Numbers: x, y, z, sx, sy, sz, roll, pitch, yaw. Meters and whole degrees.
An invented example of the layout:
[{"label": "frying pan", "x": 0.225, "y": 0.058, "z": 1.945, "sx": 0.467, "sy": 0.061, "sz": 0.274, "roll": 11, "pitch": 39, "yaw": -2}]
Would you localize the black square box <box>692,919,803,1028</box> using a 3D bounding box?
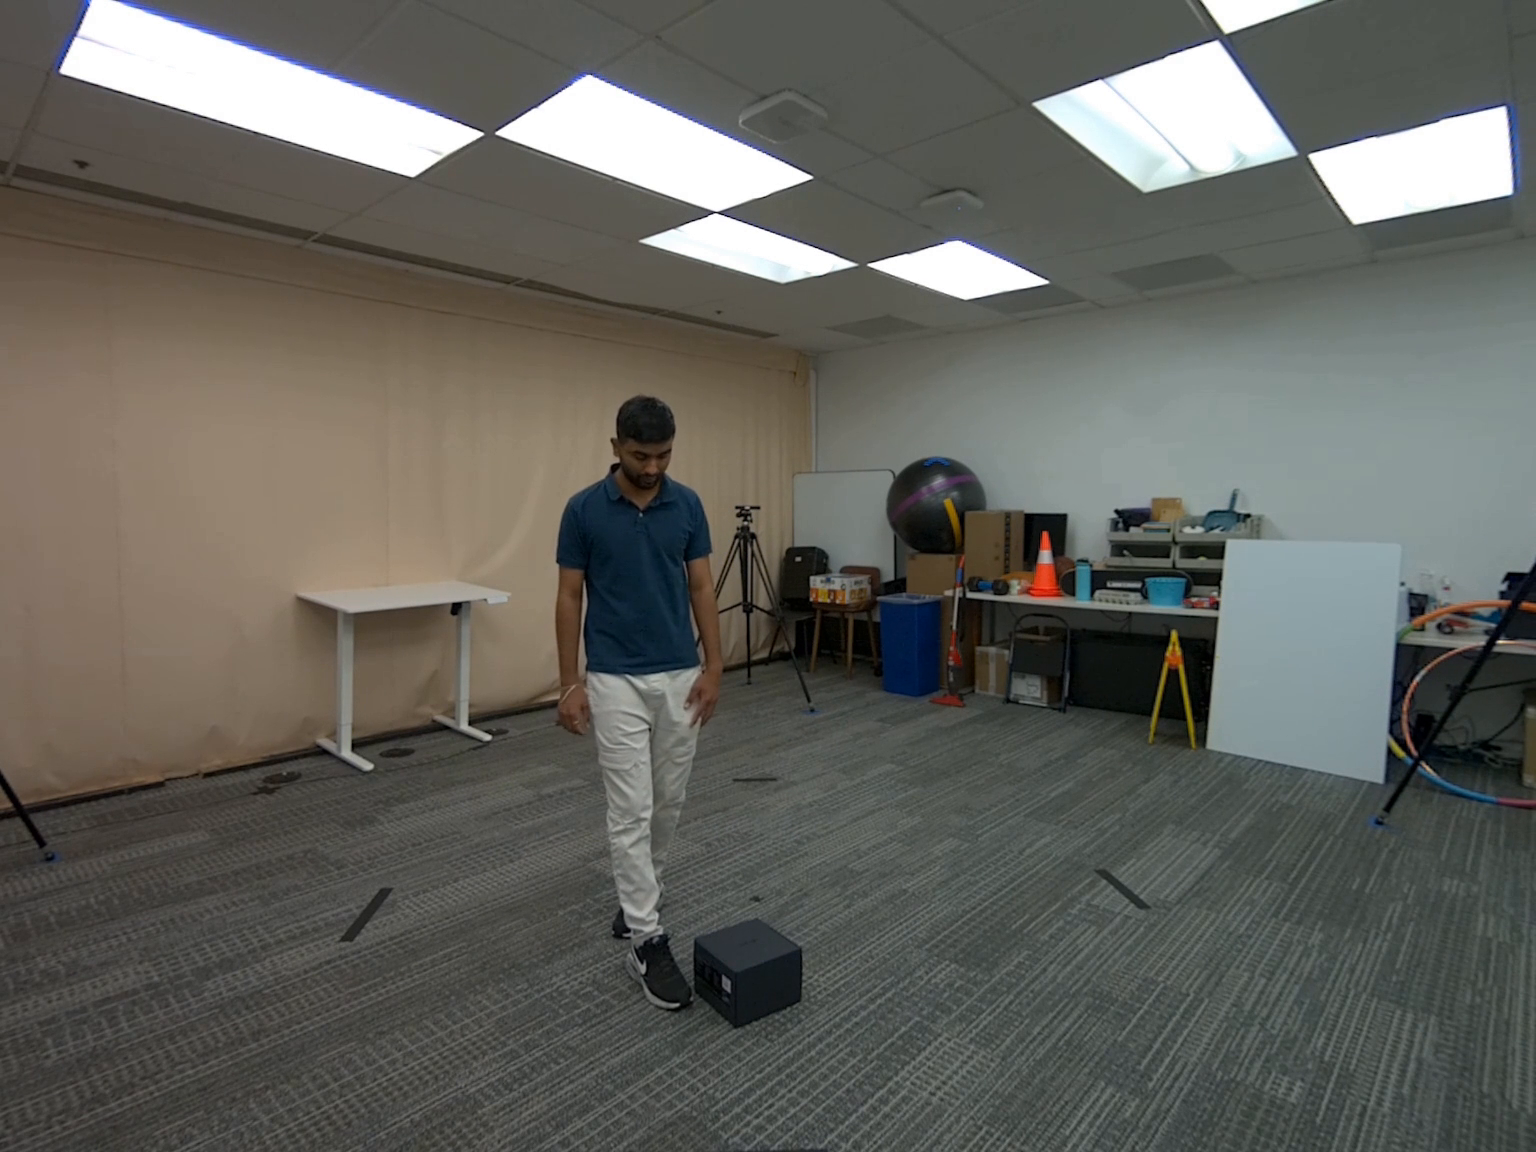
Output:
[{"label": "black square box", "x": -0.054, "y": 1.113, "z": 2.379, "sx": 0.221, "sy": 0.155, "sz": 0.224, "roll": -3, "pitch": 5, "yaw": -36}]
